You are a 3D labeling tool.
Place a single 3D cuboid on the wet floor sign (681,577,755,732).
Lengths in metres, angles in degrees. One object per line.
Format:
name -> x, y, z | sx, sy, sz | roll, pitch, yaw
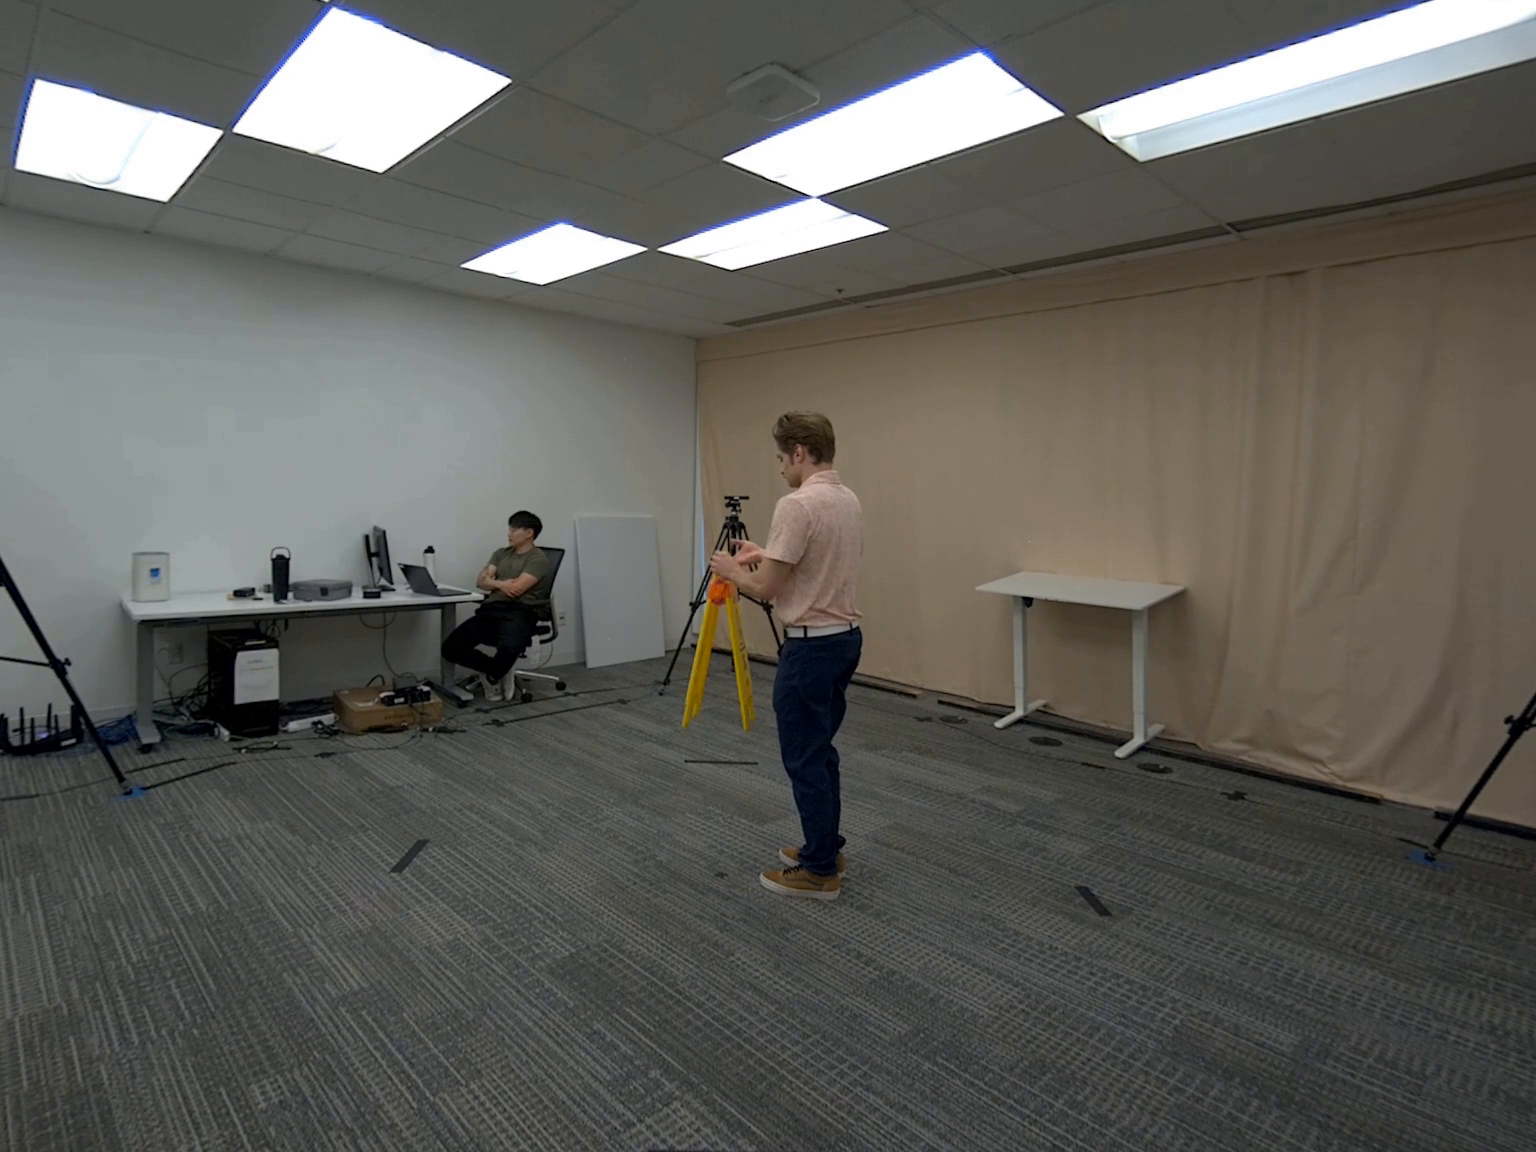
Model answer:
wet floor sign -> -0.178, 0.237, 3.201 | 0.292, 0.646, 0.280 | 2, -1, 8
